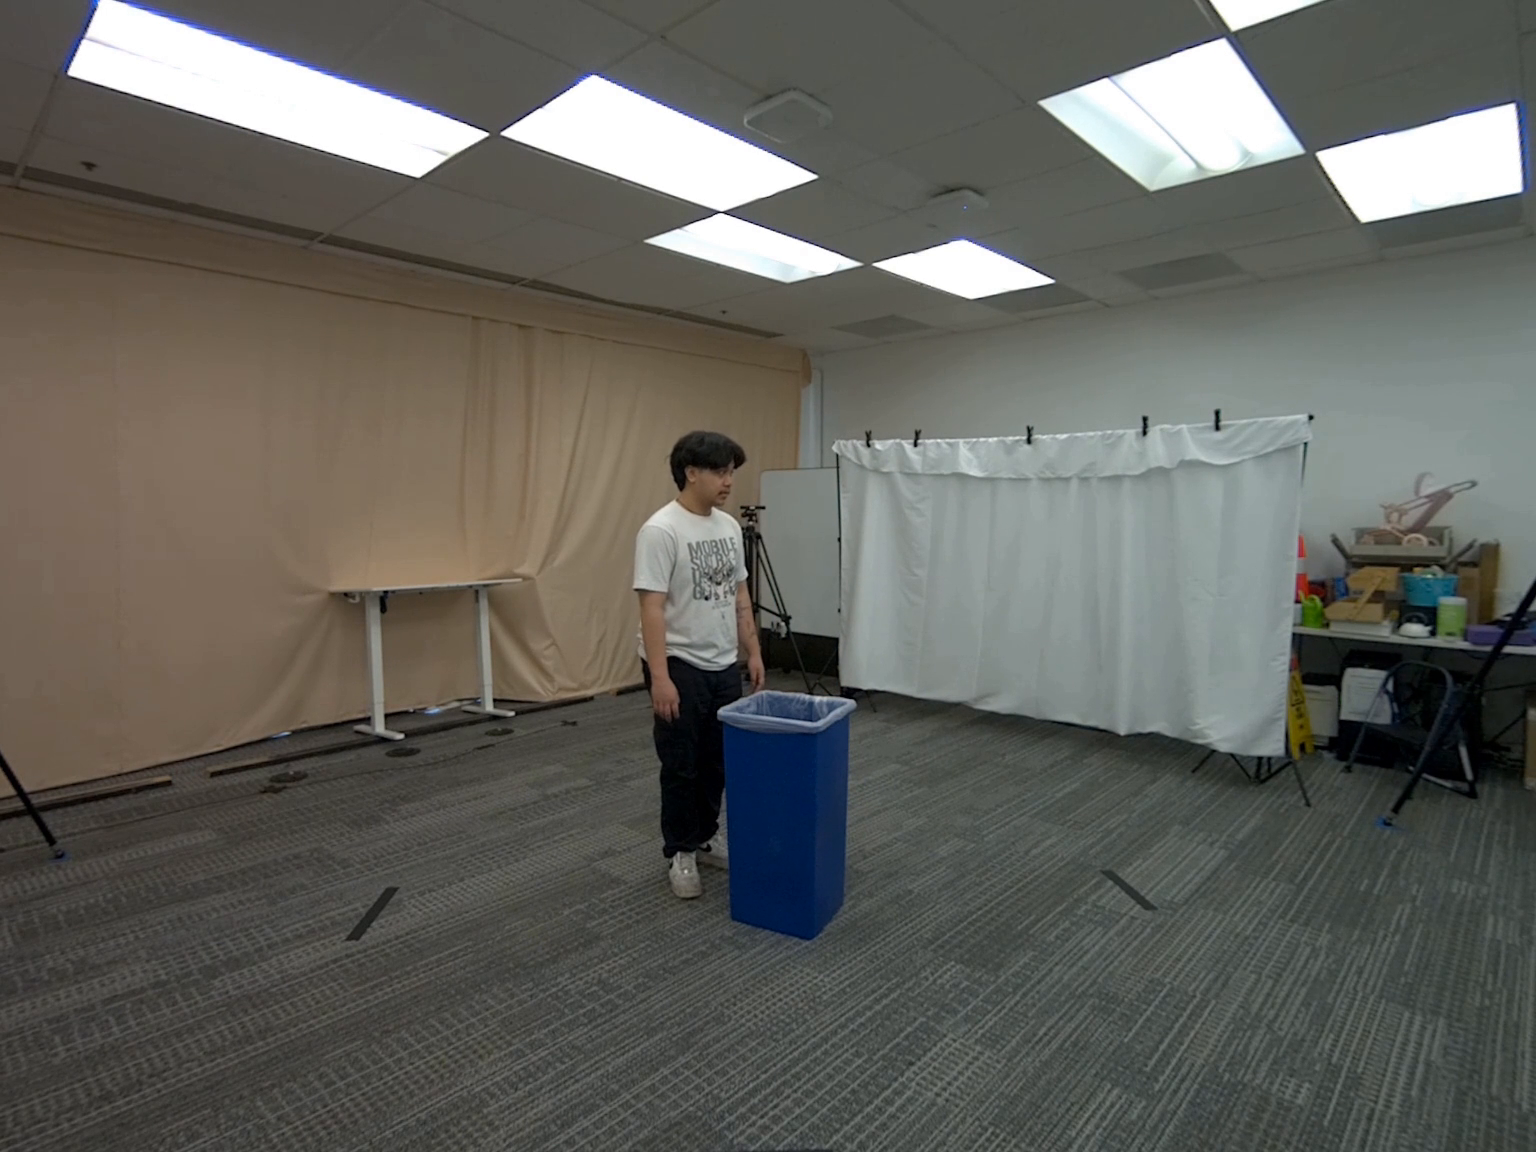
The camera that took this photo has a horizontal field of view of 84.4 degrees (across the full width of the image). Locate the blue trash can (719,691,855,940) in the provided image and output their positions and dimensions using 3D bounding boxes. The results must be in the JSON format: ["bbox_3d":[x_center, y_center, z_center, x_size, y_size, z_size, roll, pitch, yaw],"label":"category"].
[{"bbox_3d":[0.073,0.794,2.864,0.388,0.712,0.365,1,3,26],"label":"blue trash can"}]
